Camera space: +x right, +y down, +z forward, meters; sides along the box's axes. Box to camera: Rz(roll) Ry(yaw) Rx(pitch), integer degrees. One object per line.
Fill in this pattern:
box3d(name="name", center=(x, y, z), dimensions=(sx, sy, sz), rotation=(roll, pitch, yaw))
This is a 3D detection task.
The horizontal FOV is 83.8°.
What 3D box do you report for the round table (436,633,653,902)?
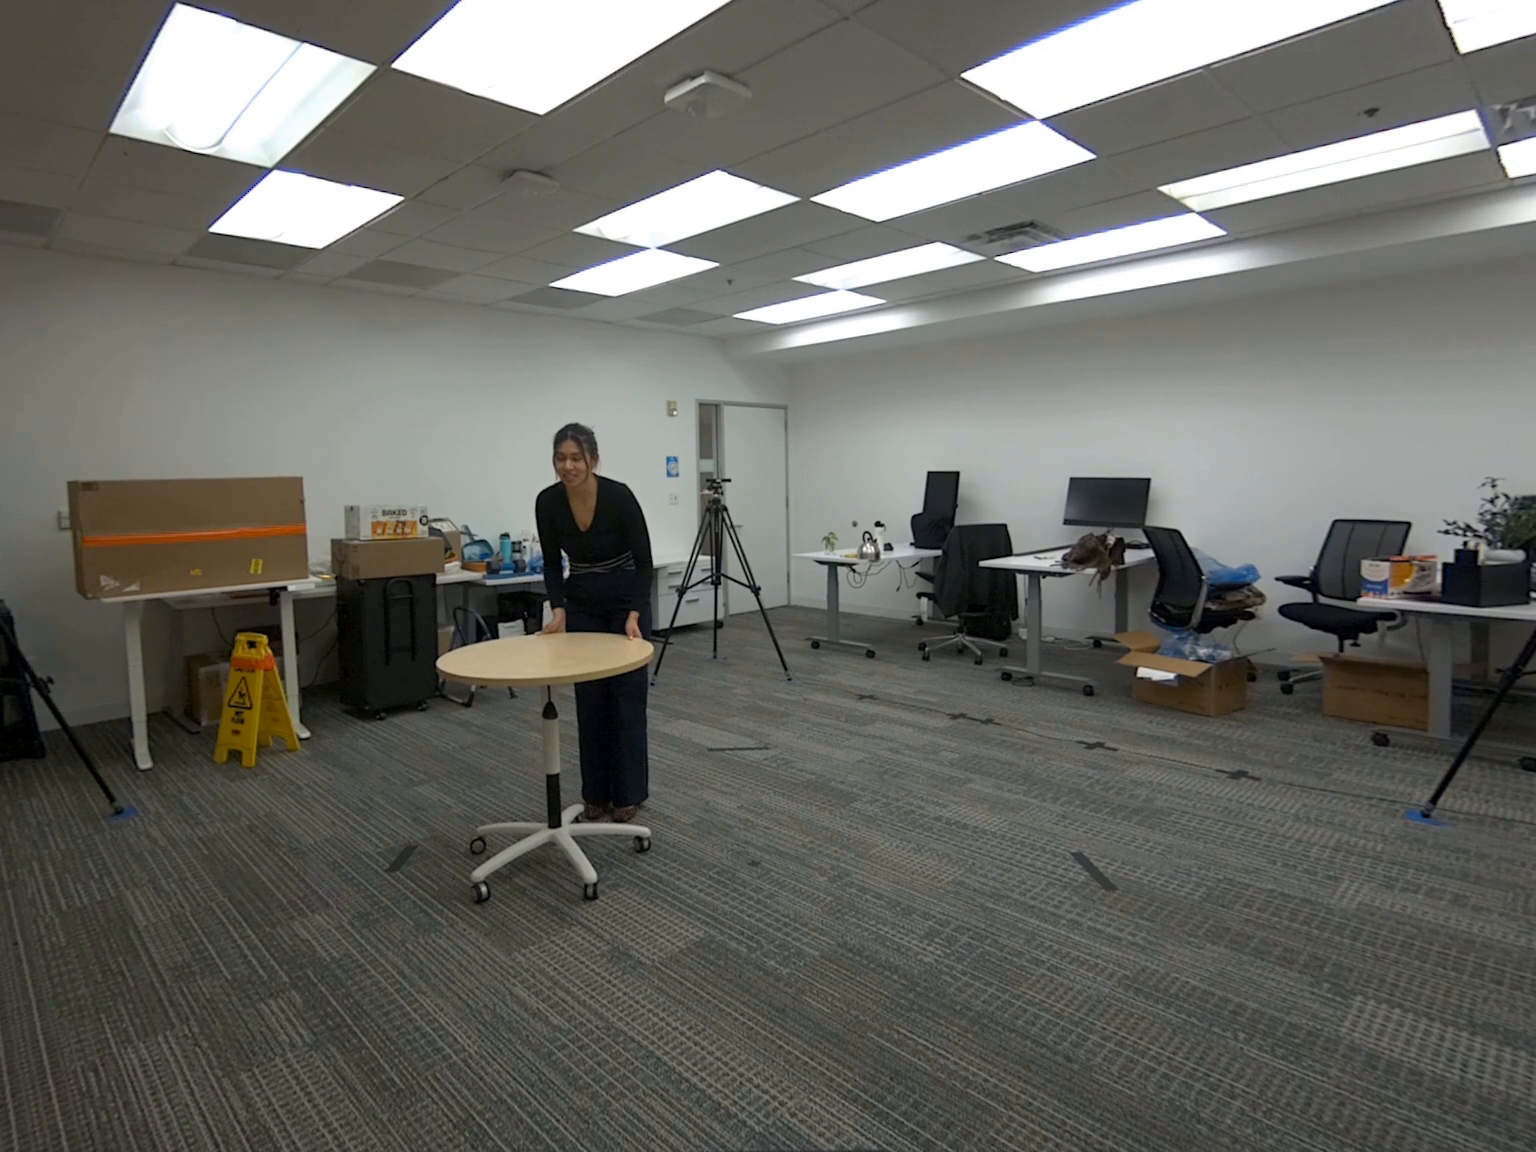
box3d(name="round table", center=(-0.784, 0.670, 3.109), dimensions=(0.763, 0.791, 0.768), rotation=(-2, 5, -1))
